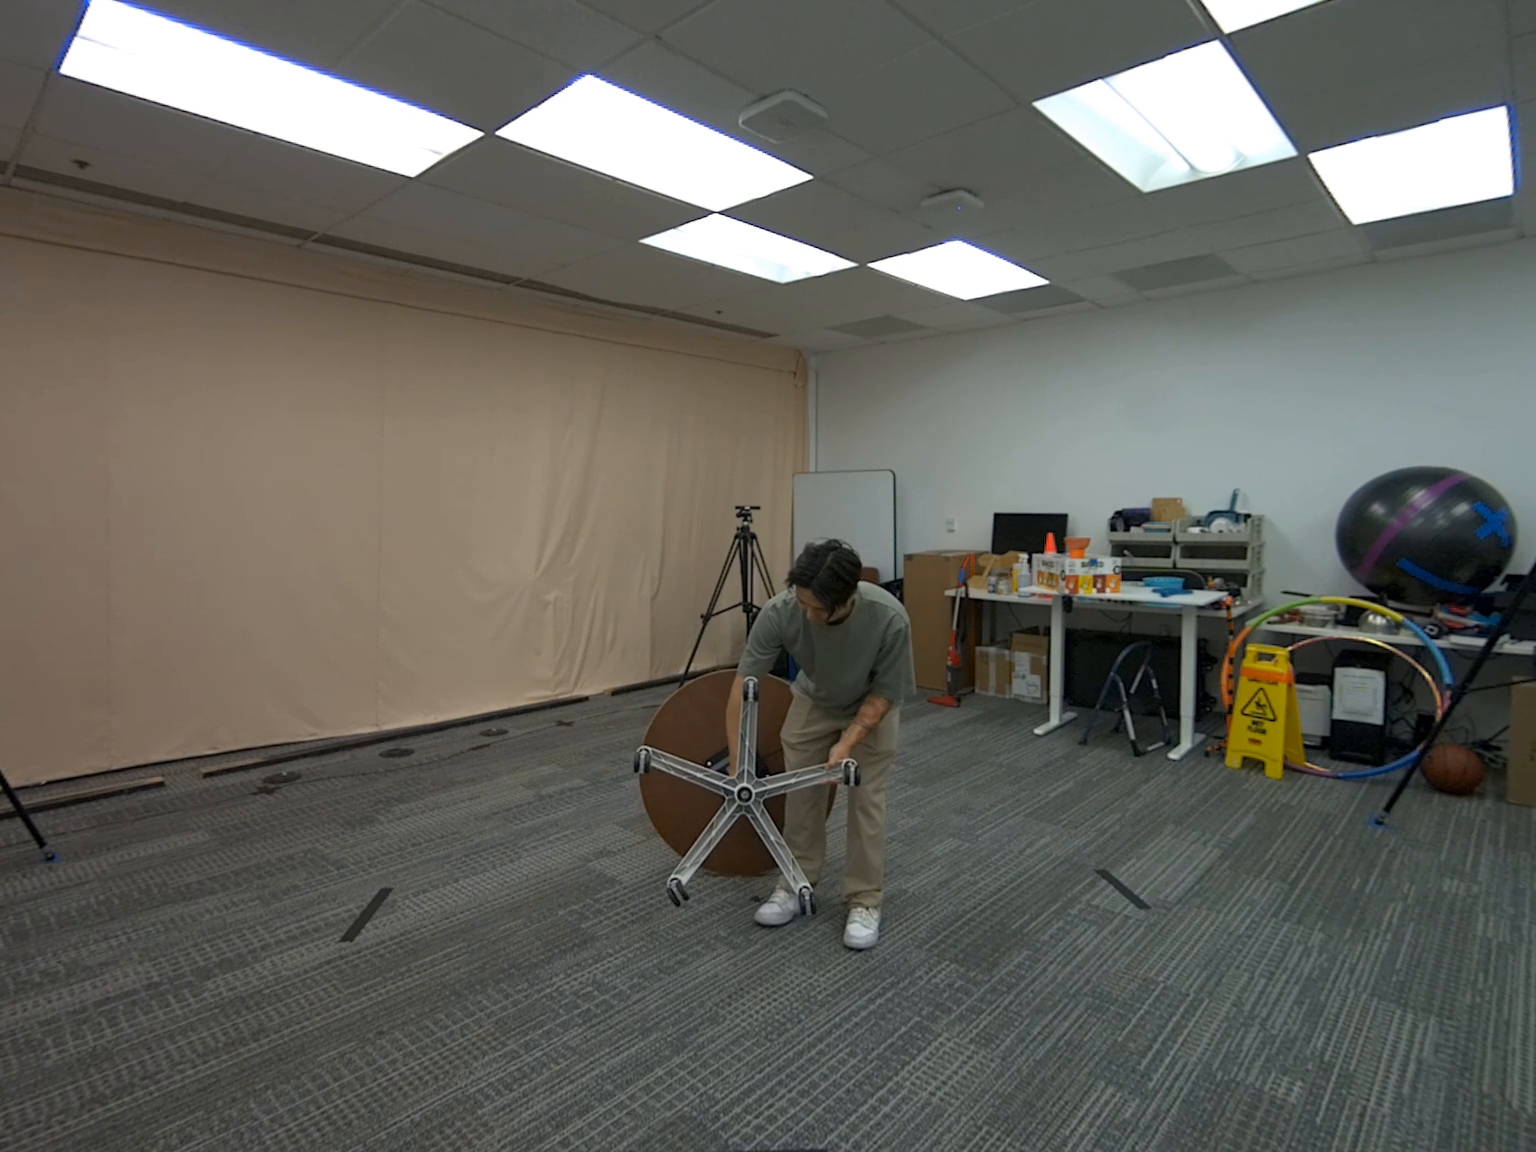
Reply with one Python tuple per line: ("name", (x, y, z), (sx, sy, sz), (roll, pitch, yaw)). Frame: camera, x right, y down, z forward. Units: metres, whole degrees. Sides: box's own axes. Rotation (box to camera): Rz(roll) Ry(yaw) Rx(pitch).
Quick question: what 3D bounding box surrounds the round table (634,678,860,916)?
("round table", (-0.095, 0.692, 2.856), (0.784, 0.789, 0.783), (0, -8, -2))
